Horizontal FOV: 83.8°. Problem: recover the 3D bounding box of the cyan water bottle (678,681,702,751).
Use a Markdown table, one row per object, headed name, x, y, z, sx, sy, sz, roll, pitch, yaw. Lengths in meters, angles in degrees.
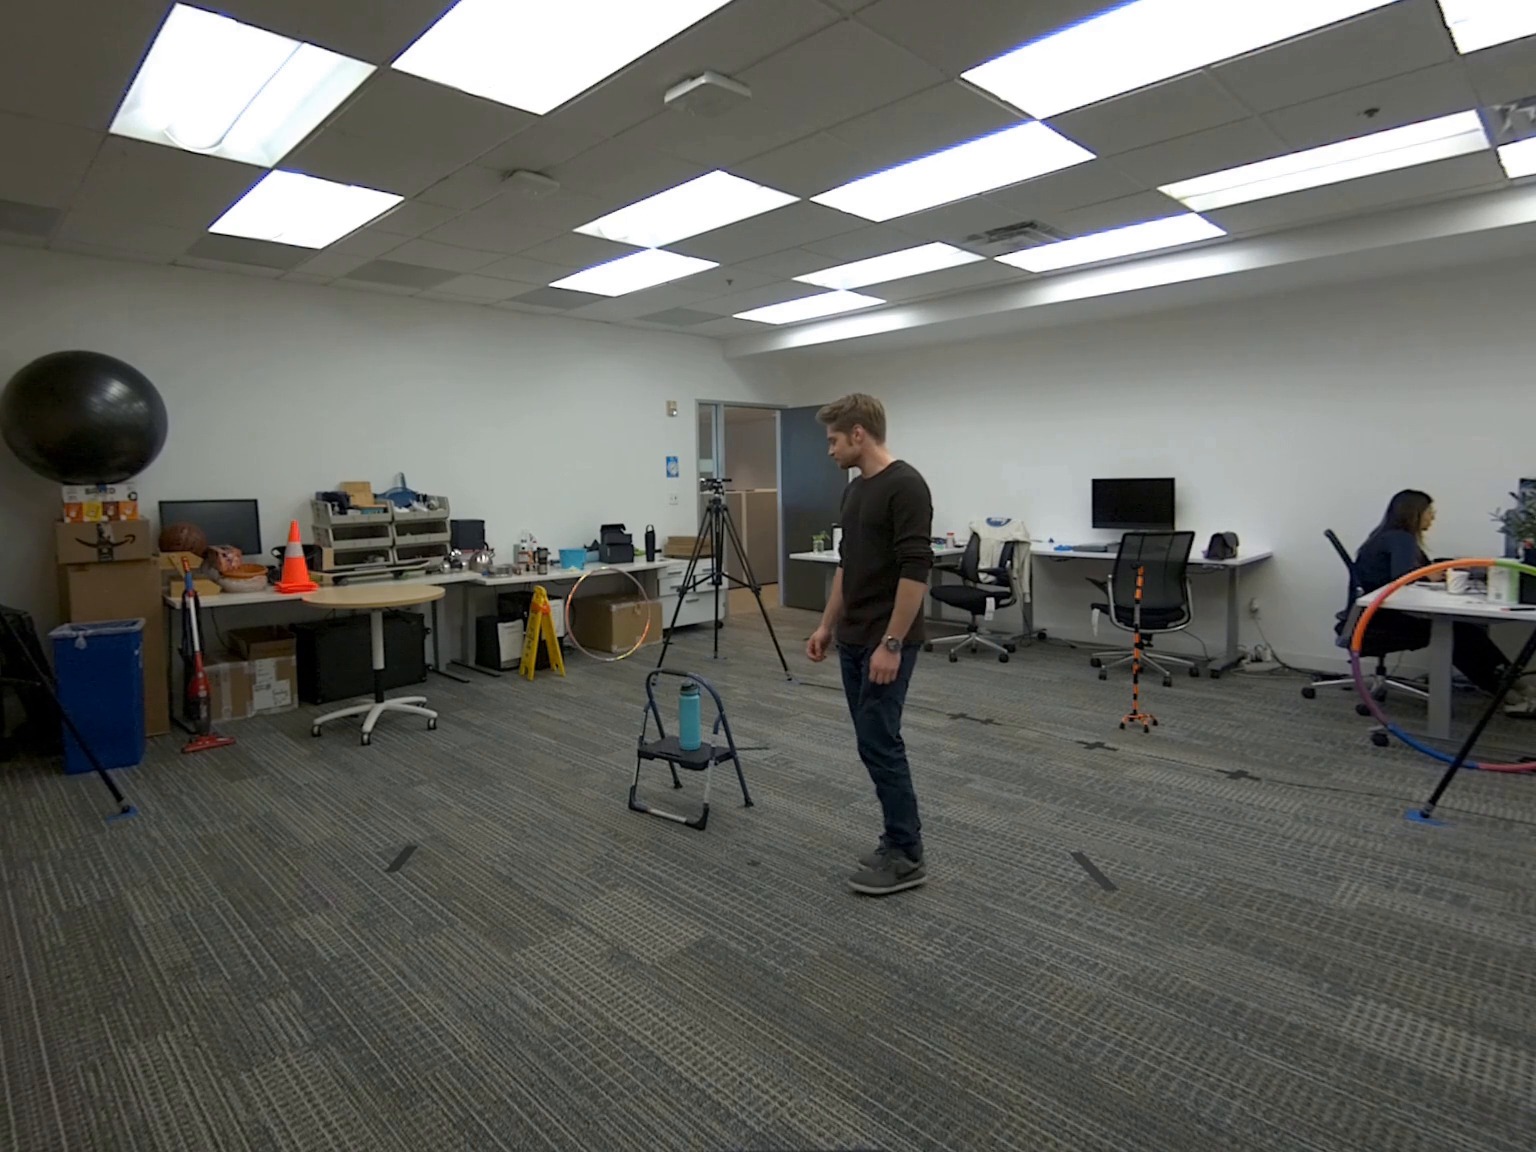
| name | x | y | z | sx | sy | sz | roll | pitch | yaw |
| --- | --- | --- | --- | --- | --- | --- | --- | --- | --- |
| cyan water bottle | -0.334 | 0.589 | 3.632 | 0.092 | 0.283 | 0.092 | 0 | 1 | -2 |
